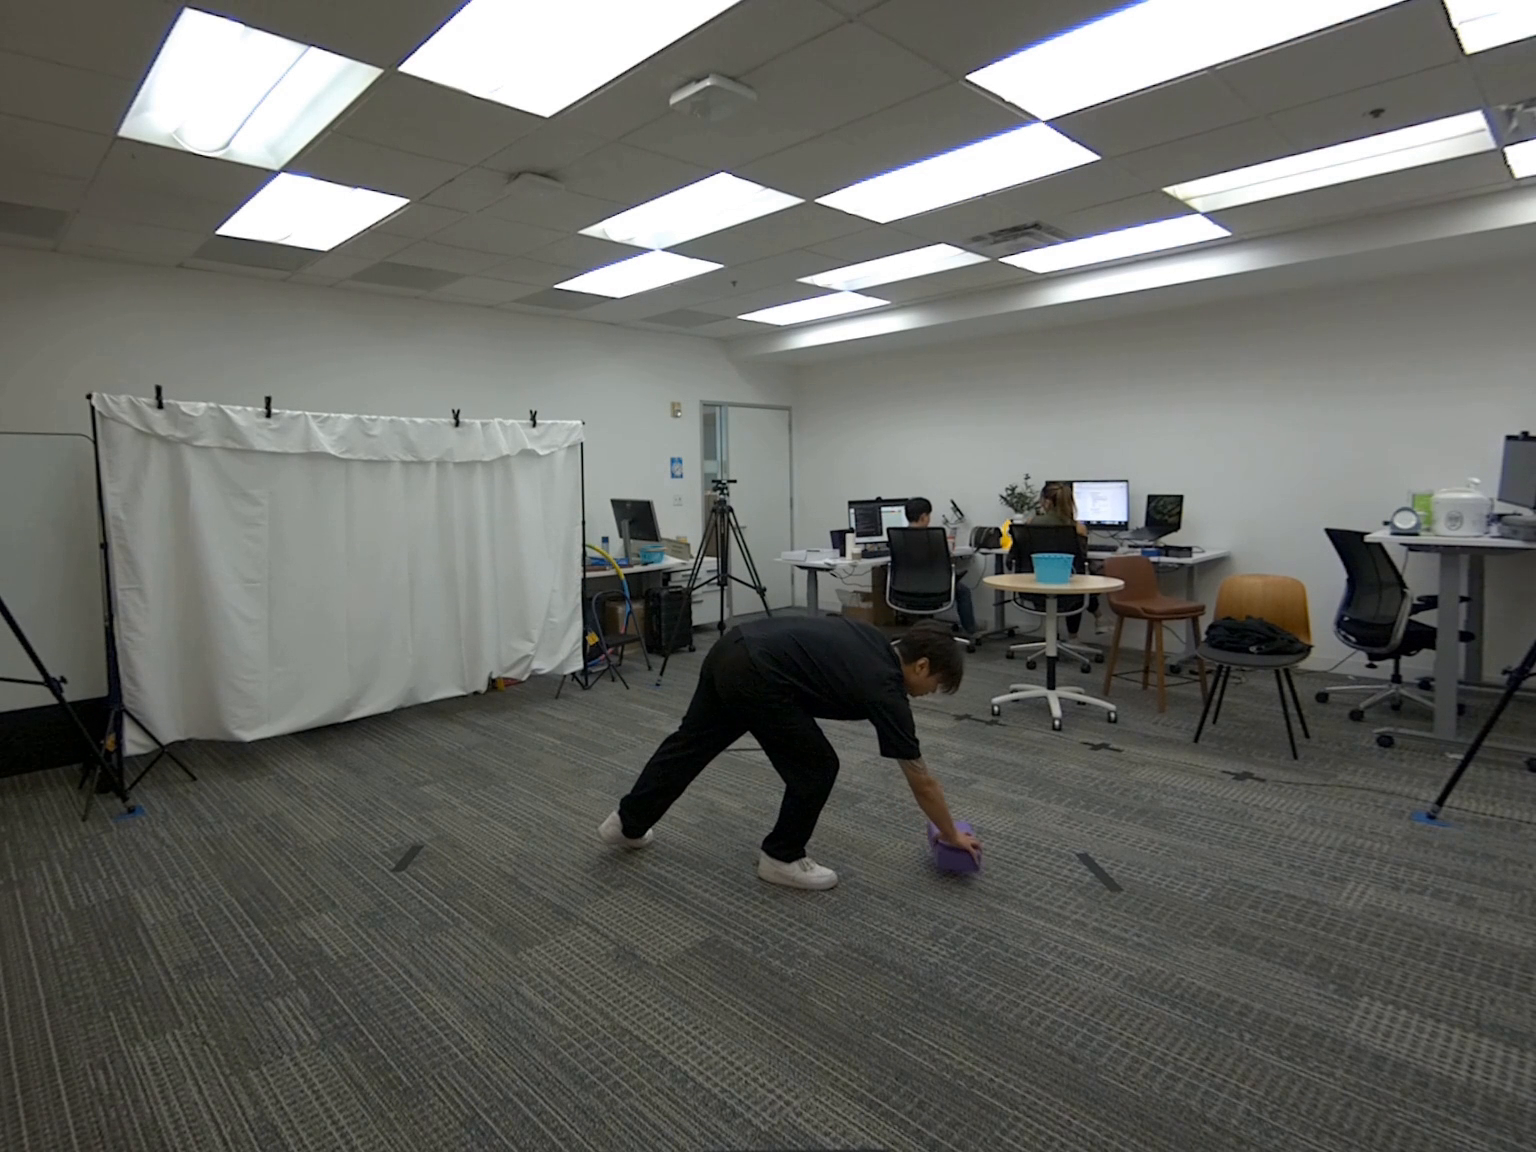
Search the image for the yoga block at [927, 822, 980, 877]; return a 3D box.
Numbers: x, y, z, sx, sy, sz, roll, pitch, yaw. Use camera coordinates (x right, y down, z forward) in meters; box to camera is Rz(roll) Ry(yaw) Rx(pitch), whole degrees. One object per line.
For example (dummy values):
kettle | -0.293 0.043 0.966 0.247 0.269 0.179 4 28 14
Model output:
yoga block | 0.655 0.956 3.032 0.149 0.076 0.230 3 12 3
